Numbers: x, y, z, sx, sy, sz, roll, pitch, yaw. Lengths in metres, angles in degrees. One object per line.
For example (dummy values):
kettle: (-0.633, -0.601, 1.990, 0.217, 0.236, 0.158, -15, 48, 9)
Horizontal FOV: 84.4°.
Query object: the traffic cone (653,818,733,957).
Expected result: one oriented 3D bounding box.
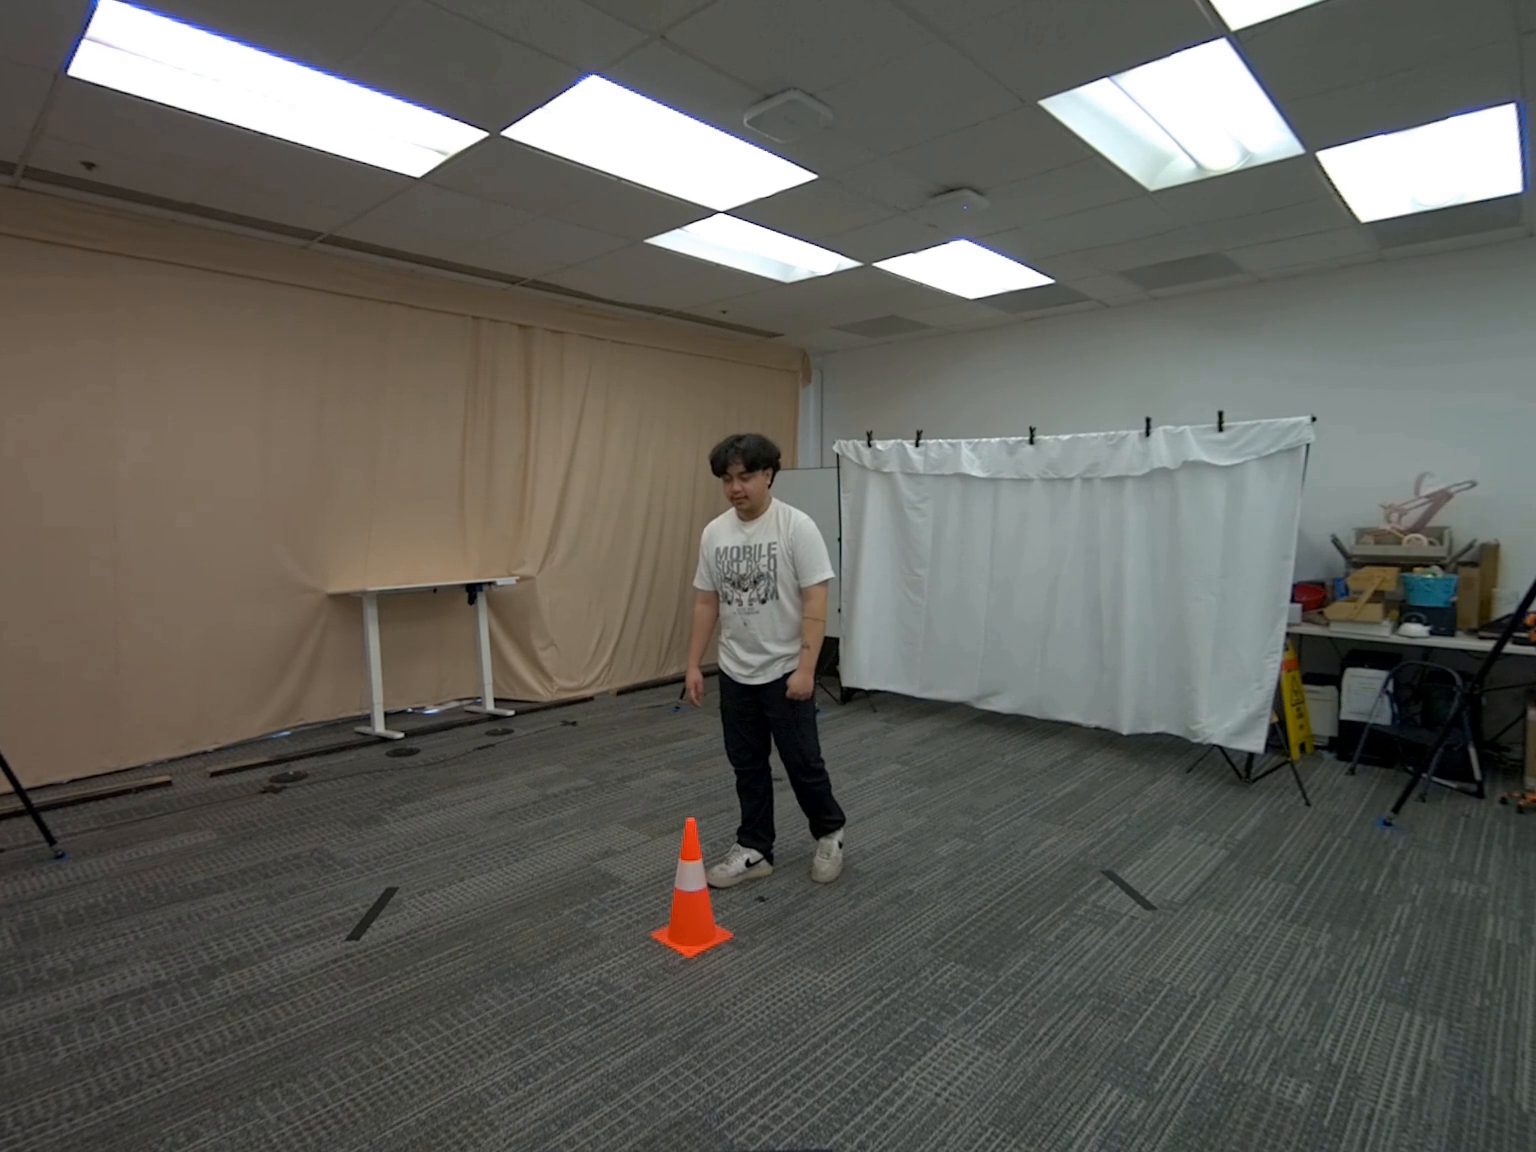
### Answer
traffic cone: (-0.244, 0.979, 2.720, 0.199, 0.383, 0.210, -3, 5, -44)
